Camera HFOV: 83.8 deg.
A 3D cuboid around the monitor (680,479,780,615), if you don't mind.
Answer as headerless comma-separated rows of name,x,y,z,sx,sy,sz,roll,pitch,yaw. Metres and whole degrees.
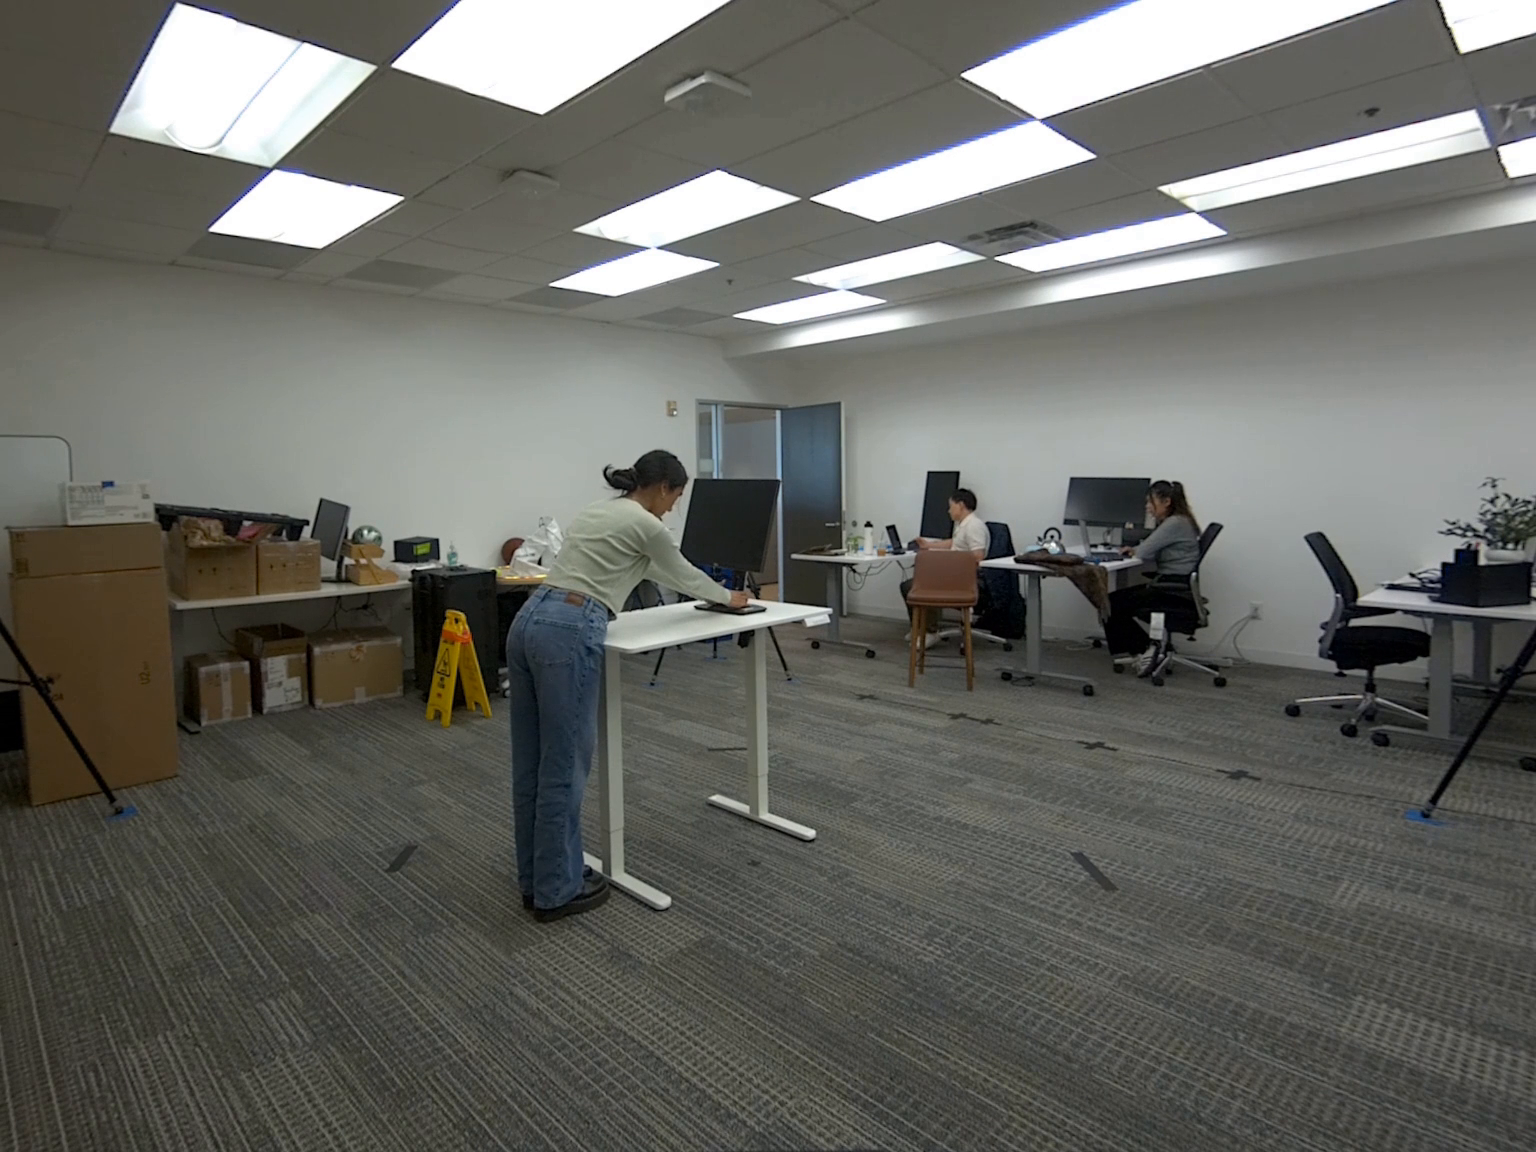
monitor,-0.139,-0.121,3.358,0.182,0.521,0.556,-1,5,-41
